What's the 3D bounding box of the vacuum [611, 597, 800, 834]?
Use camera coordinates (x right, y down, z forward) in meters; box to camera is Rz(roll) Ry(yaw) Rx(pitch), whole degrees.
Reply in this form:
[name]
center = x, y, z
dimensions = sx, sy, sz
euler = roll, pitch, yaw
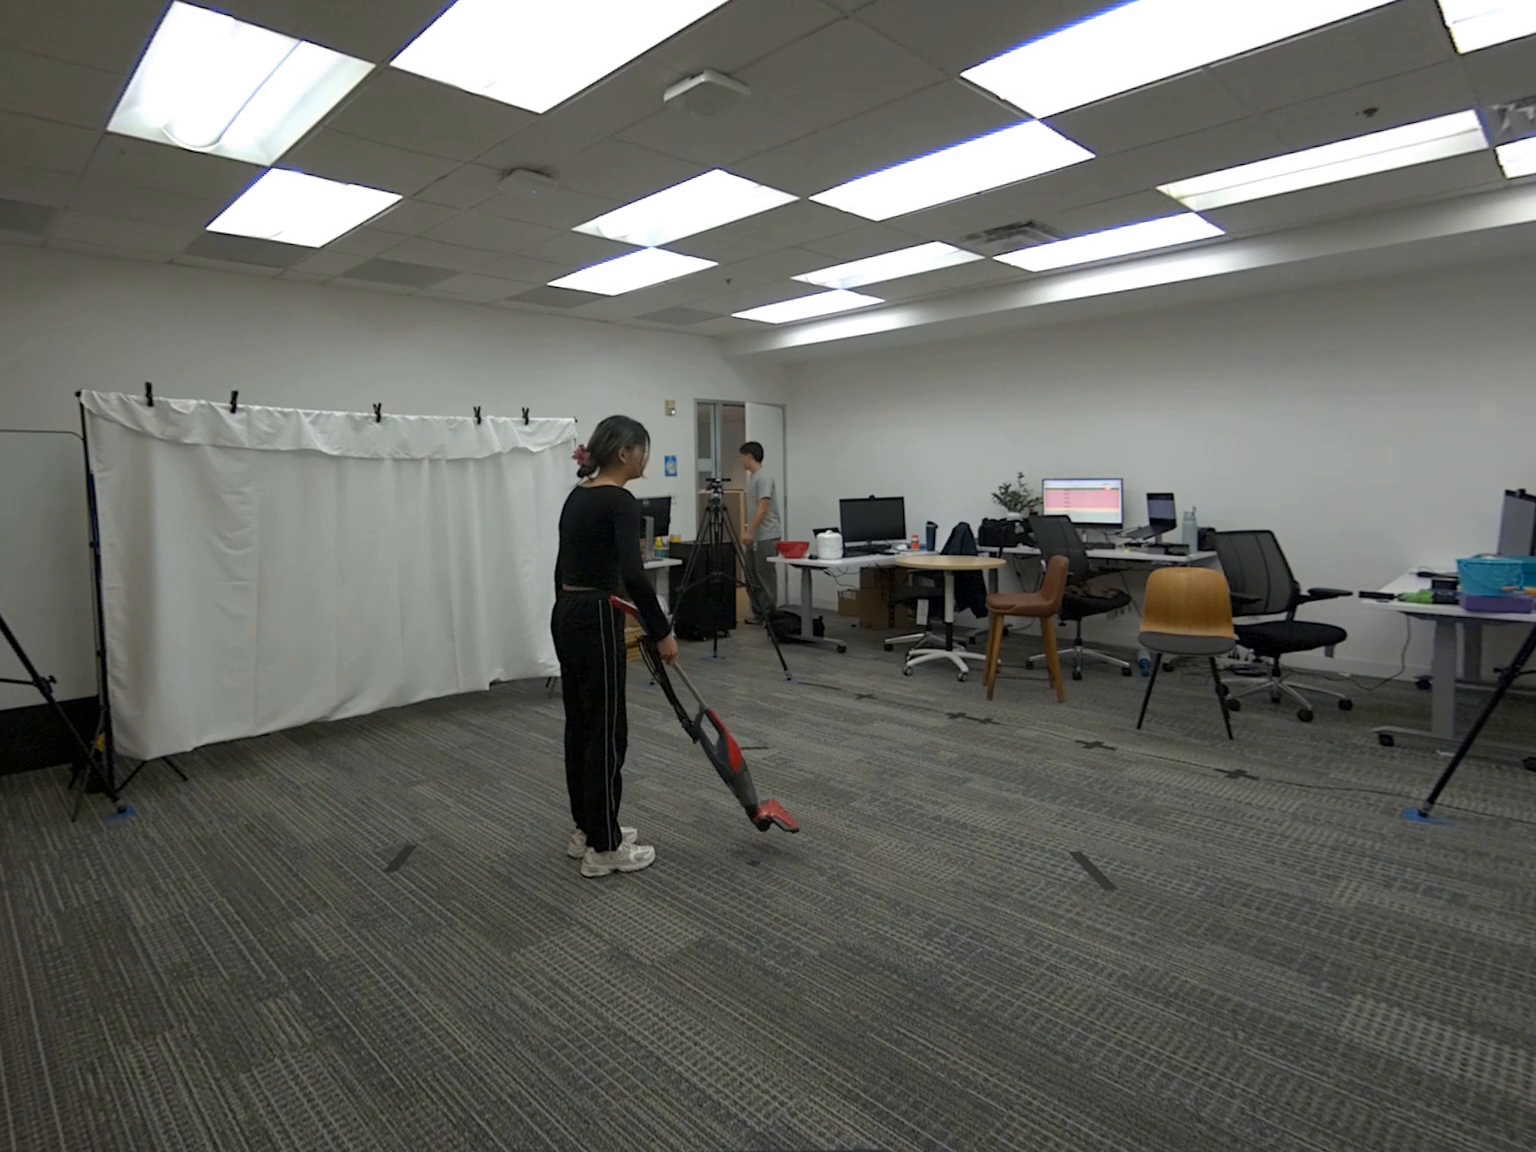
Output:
[vacuum]
center = -0.248, 0.506, 3.056
dimensions = 0.143, 1.028, 0.259
euler = -37, 17, -13
